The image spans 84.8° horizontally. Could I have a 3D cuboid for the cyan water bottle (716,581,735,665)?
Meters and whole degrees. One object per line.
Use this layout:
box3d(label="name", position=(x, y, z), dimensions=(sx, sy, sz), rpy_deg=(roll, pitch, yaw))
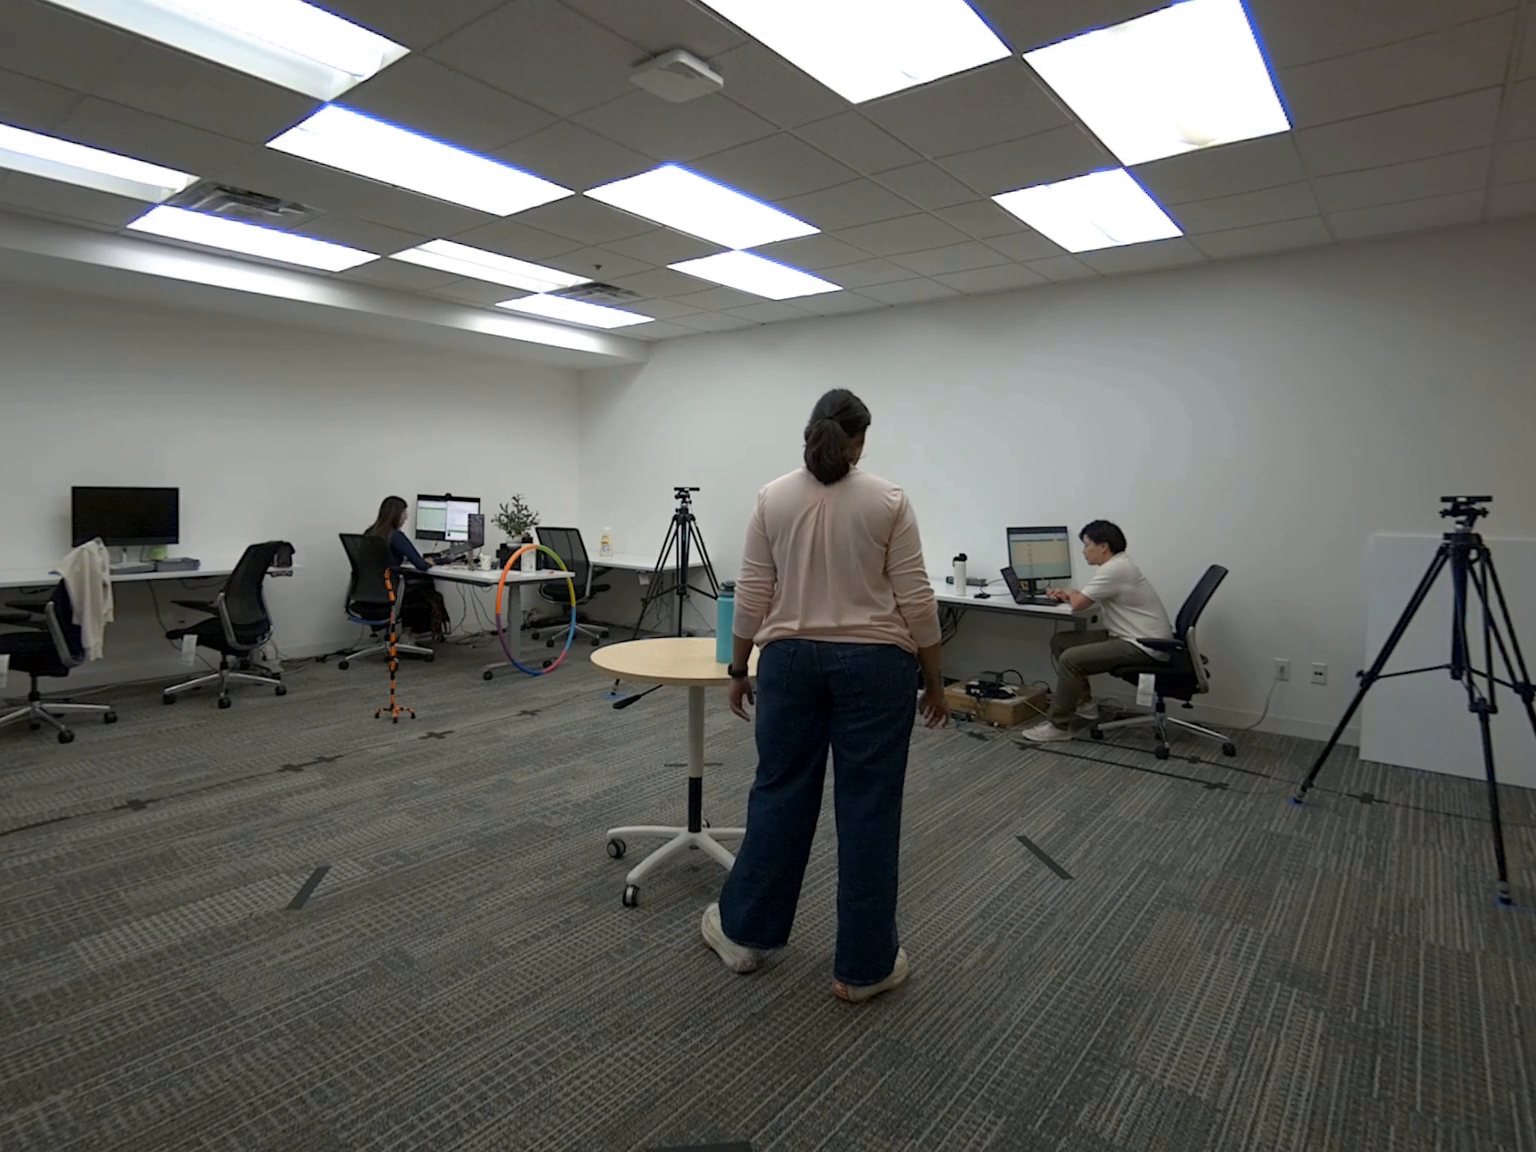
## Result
box3d(label="cyan water bottle", position=(-0.146, 0.156, 2.975), dimensions=(0.092, 0.283, 0.092), rpy_deg=(1, 1, -2))
